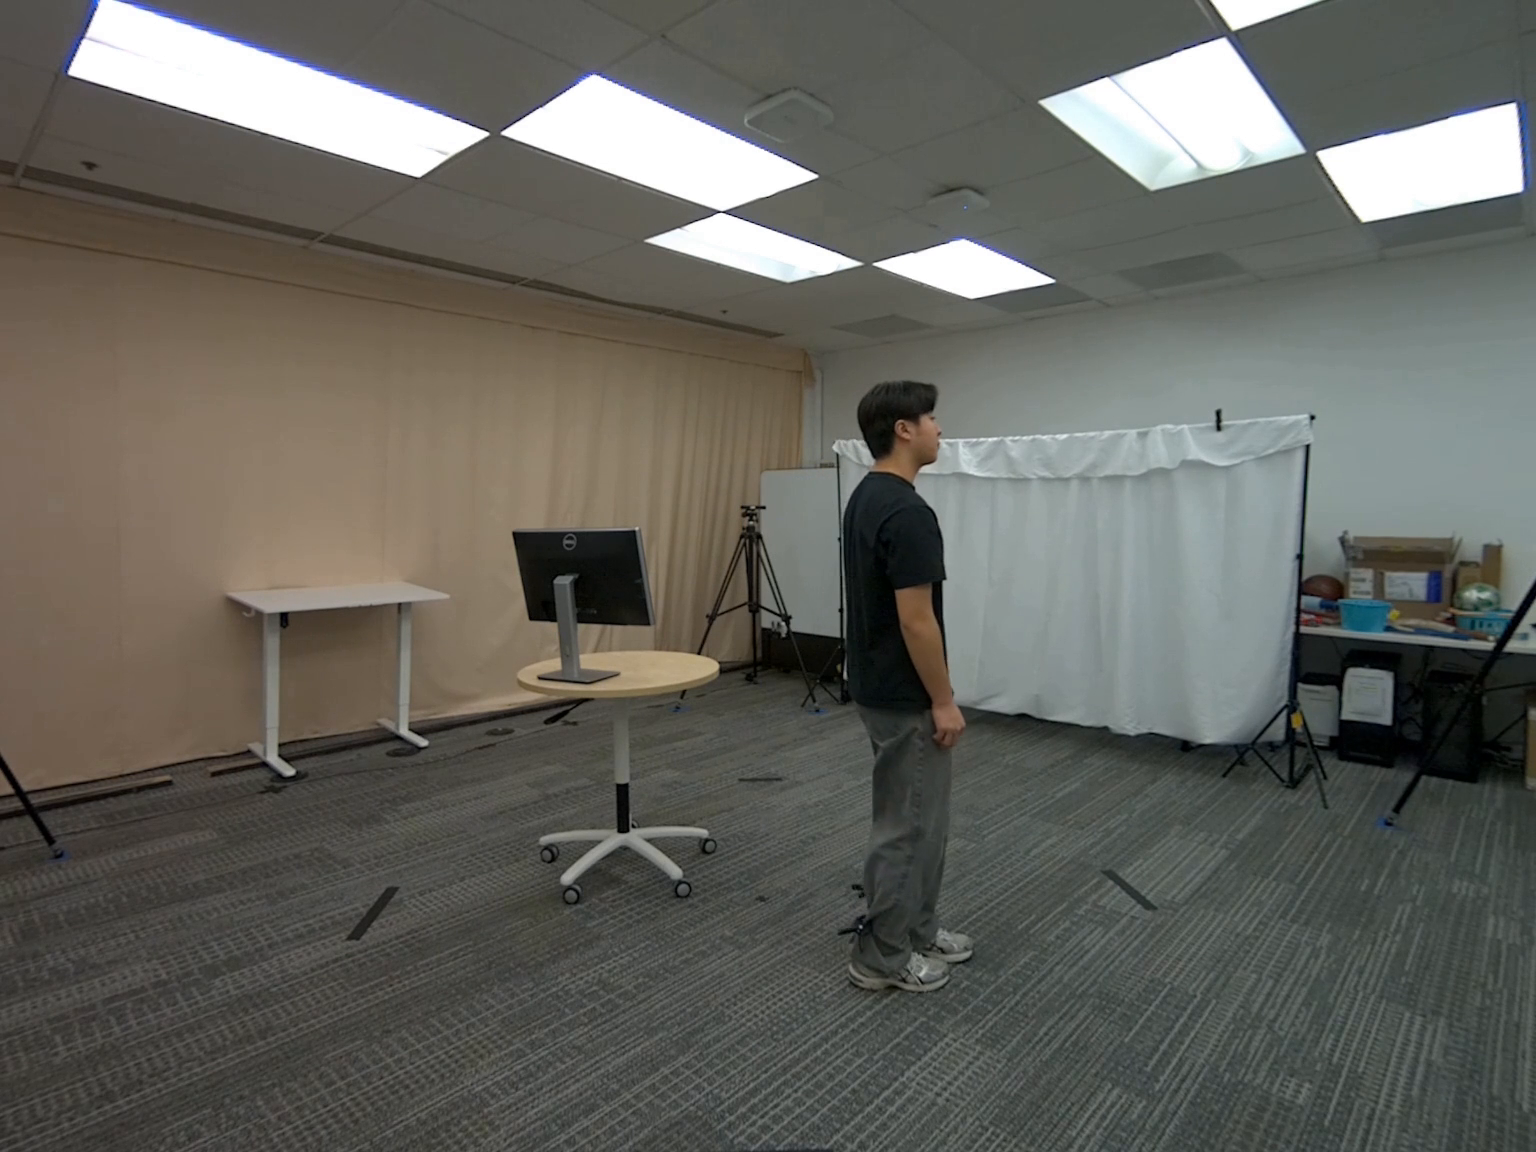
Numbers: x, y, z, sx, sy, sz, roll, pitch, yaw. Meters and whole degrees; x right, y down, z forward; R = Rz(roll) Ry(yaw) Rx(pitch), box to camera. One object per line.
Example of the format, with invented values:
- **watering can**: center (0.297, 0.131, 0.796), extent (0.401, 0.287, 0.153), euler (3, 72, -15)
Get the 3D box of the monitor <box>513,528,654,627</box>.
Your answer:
- **monitor**: center (-0.693, 0.109, 3.068), extent (0.577, 0.565, 0.216), euler (1, 1, 29)
